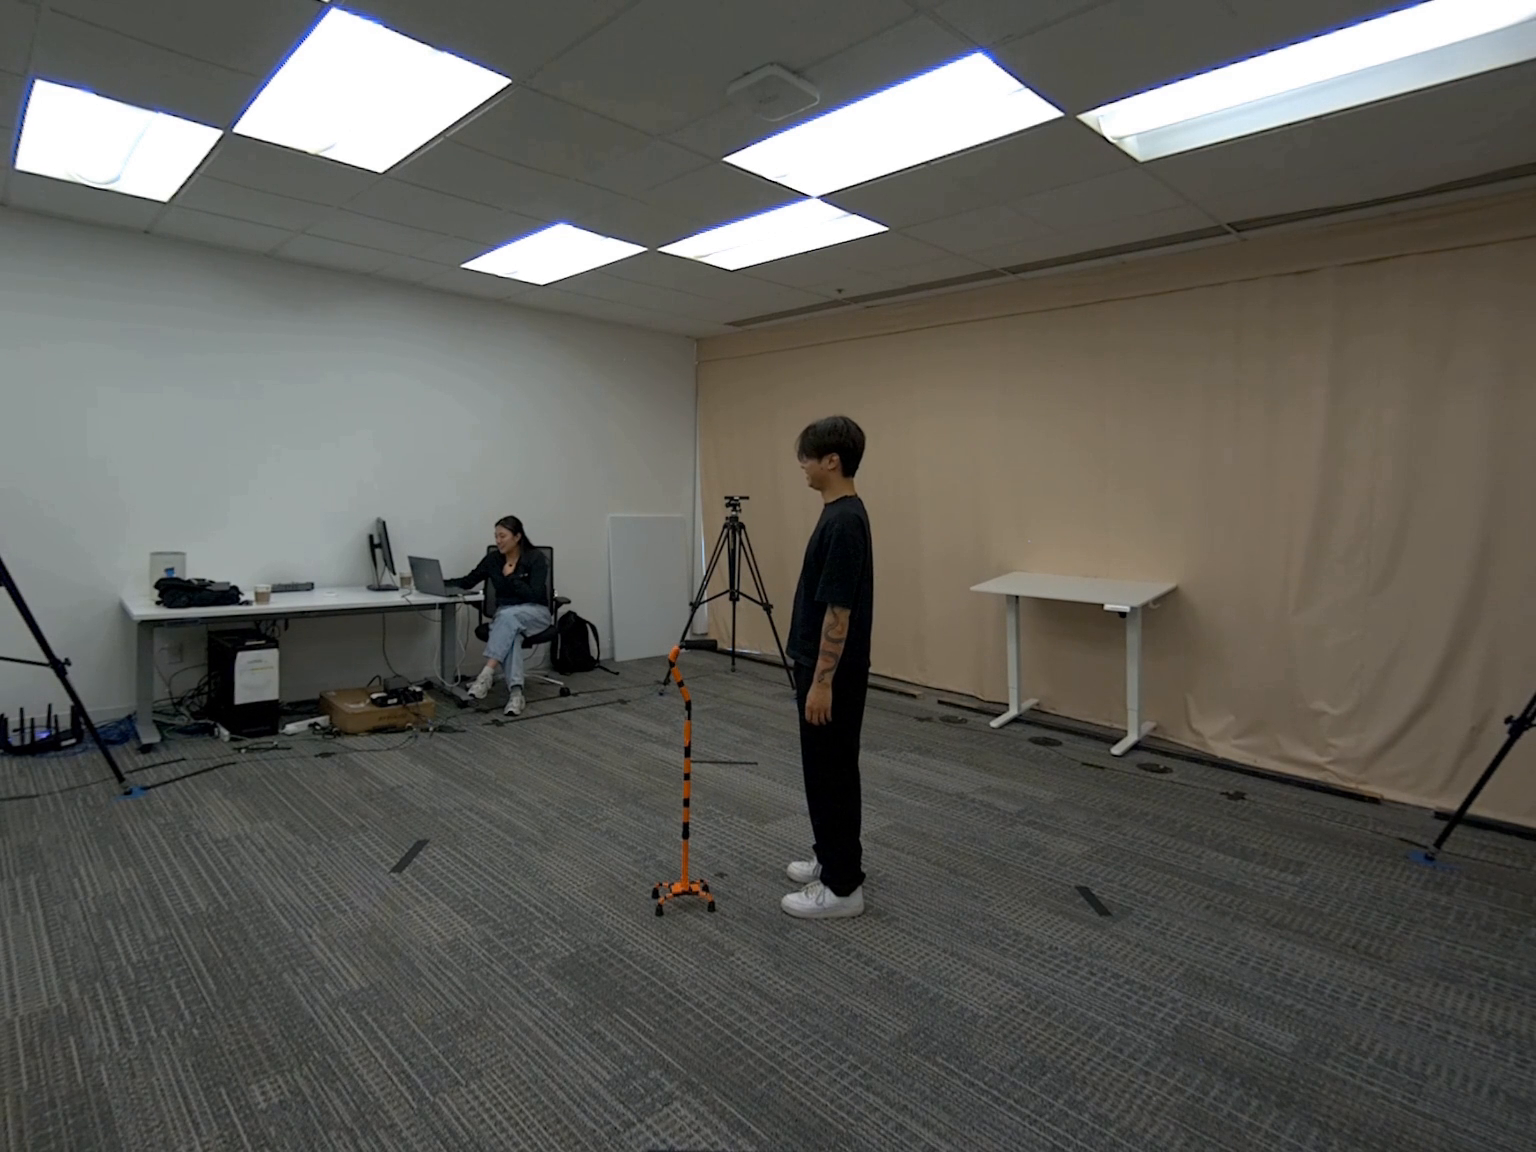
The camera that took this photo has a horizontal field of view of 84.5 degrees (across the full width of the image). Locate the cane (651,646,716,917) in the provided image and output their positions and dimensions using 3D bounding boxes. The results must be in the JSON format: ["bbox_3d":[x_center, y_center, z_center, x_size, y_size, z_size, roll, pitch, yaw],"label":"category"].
[{"bbox_3d":[-0.278,0.664,2.853,0.204,0.906,0.153,1,3,-13],"label":"cane"}]
